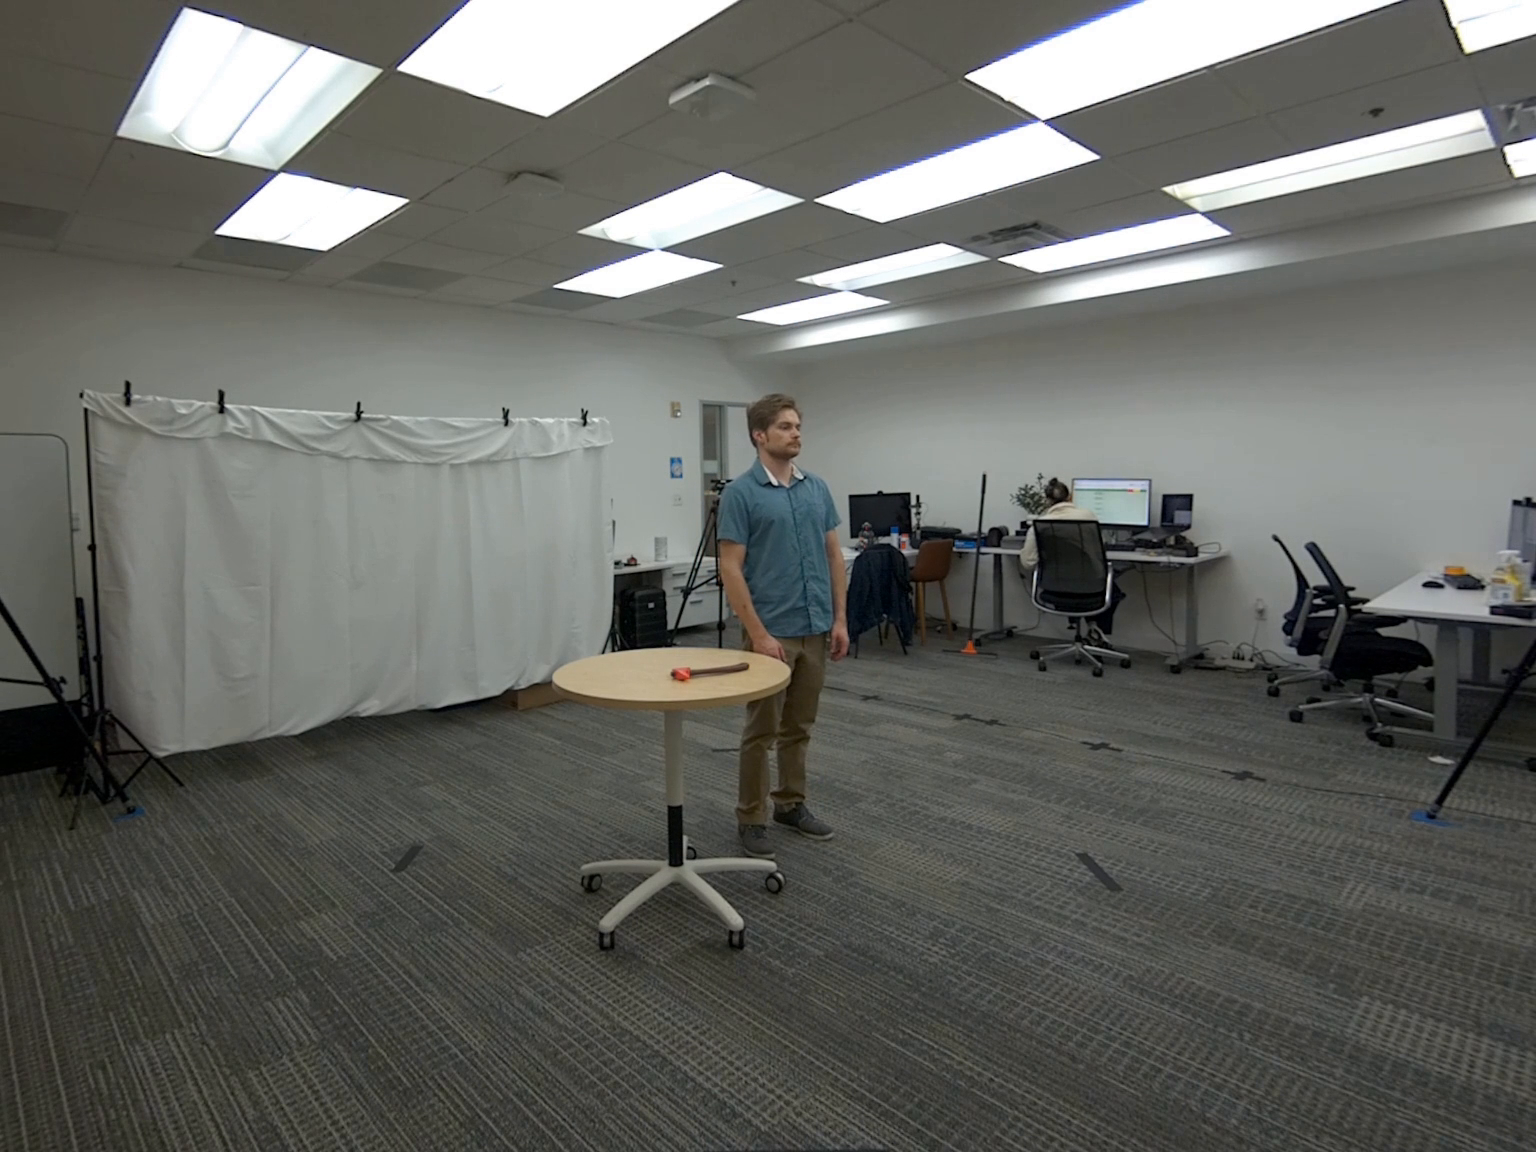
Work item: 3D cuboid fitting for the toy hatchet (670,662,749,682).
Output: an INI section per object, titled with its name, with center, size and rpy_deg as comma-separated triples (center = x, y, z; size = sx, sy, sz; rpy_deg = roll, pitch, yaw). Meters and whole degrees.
[toy hatchet]
center = -0.199, 0.304, 2.722
size = 0.263, 0.029, 0.135
rpy_deg = -3, 2, -41
